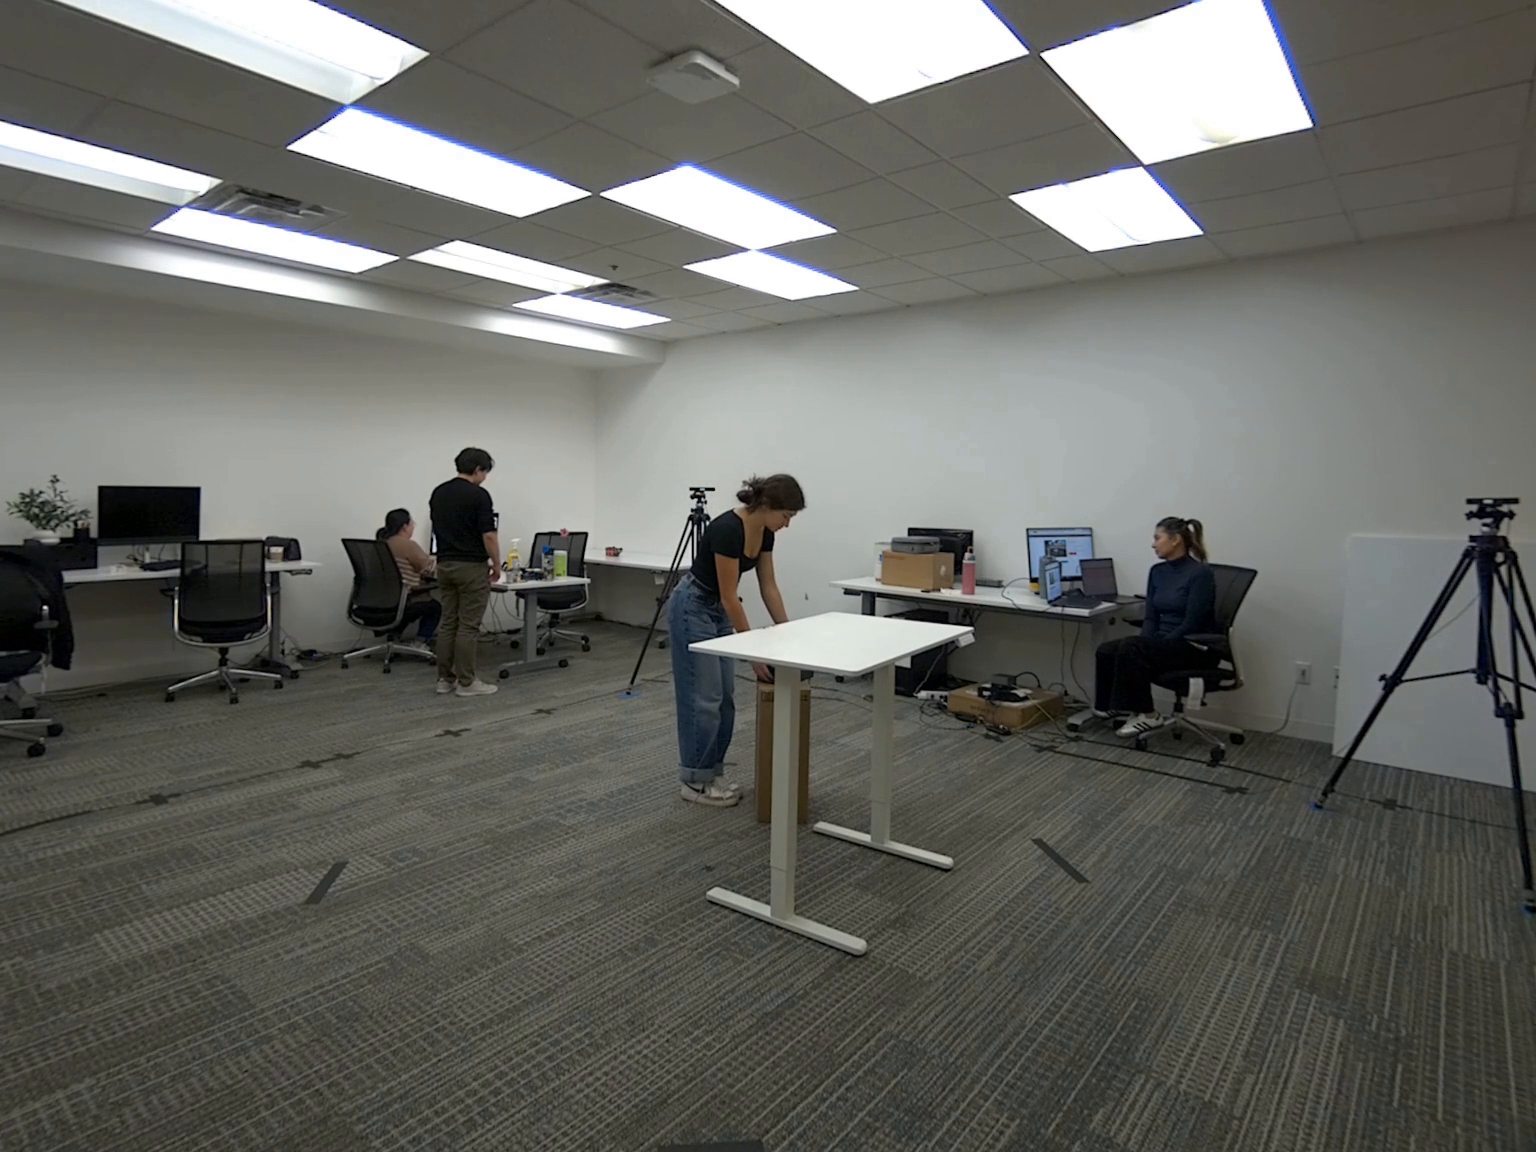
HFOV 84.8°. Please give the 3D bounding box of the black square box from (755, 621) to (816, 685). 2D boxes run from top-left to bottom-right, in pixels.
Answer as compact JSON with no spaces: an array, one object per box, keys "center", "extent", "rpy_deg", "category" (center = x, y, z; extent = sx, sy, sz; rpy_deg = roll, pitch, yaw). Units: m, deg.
[{"center":[0.076,0.333,3.698],"extent":[0.161,0.227,0.210],"rpy_deg":[5,6,42],"category":"black square box"}]
